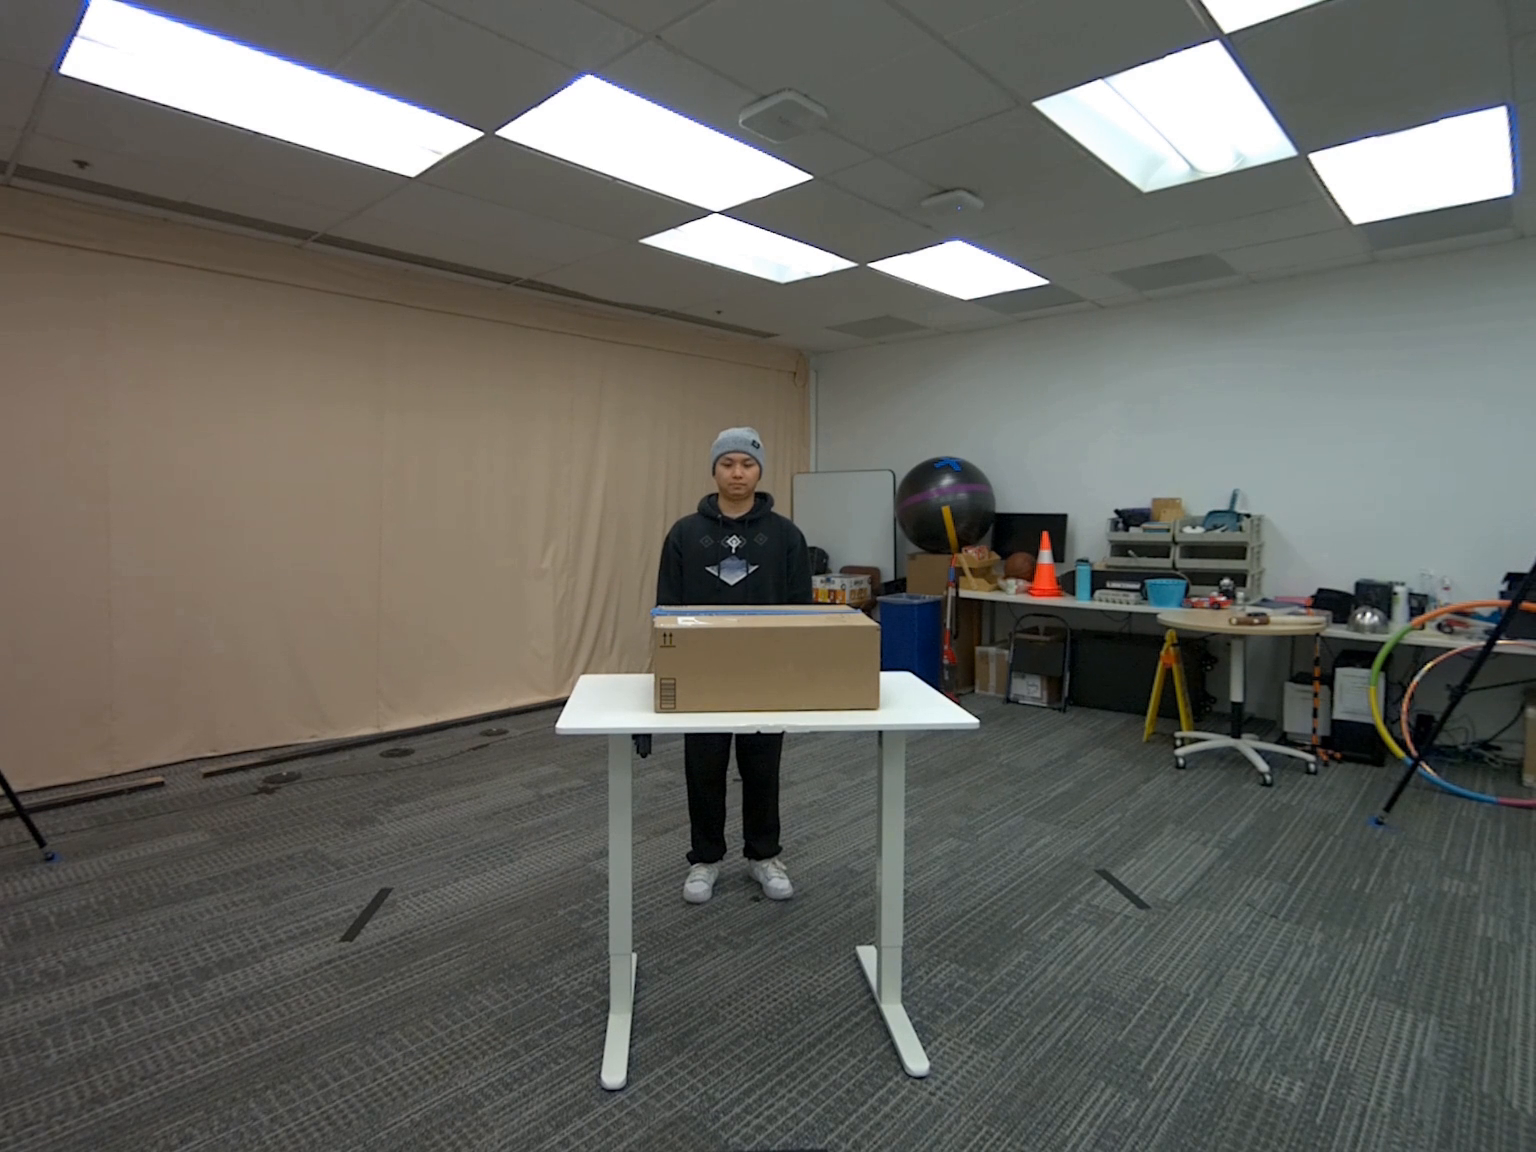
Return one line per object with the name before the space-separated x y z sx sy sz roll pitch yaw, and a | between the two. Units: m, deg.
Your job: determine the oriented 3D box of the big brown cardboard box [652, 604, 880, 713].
big brown cardboard box | -0.028 0.212 2.297 0.586 0.232 0.421 1 4 -5
